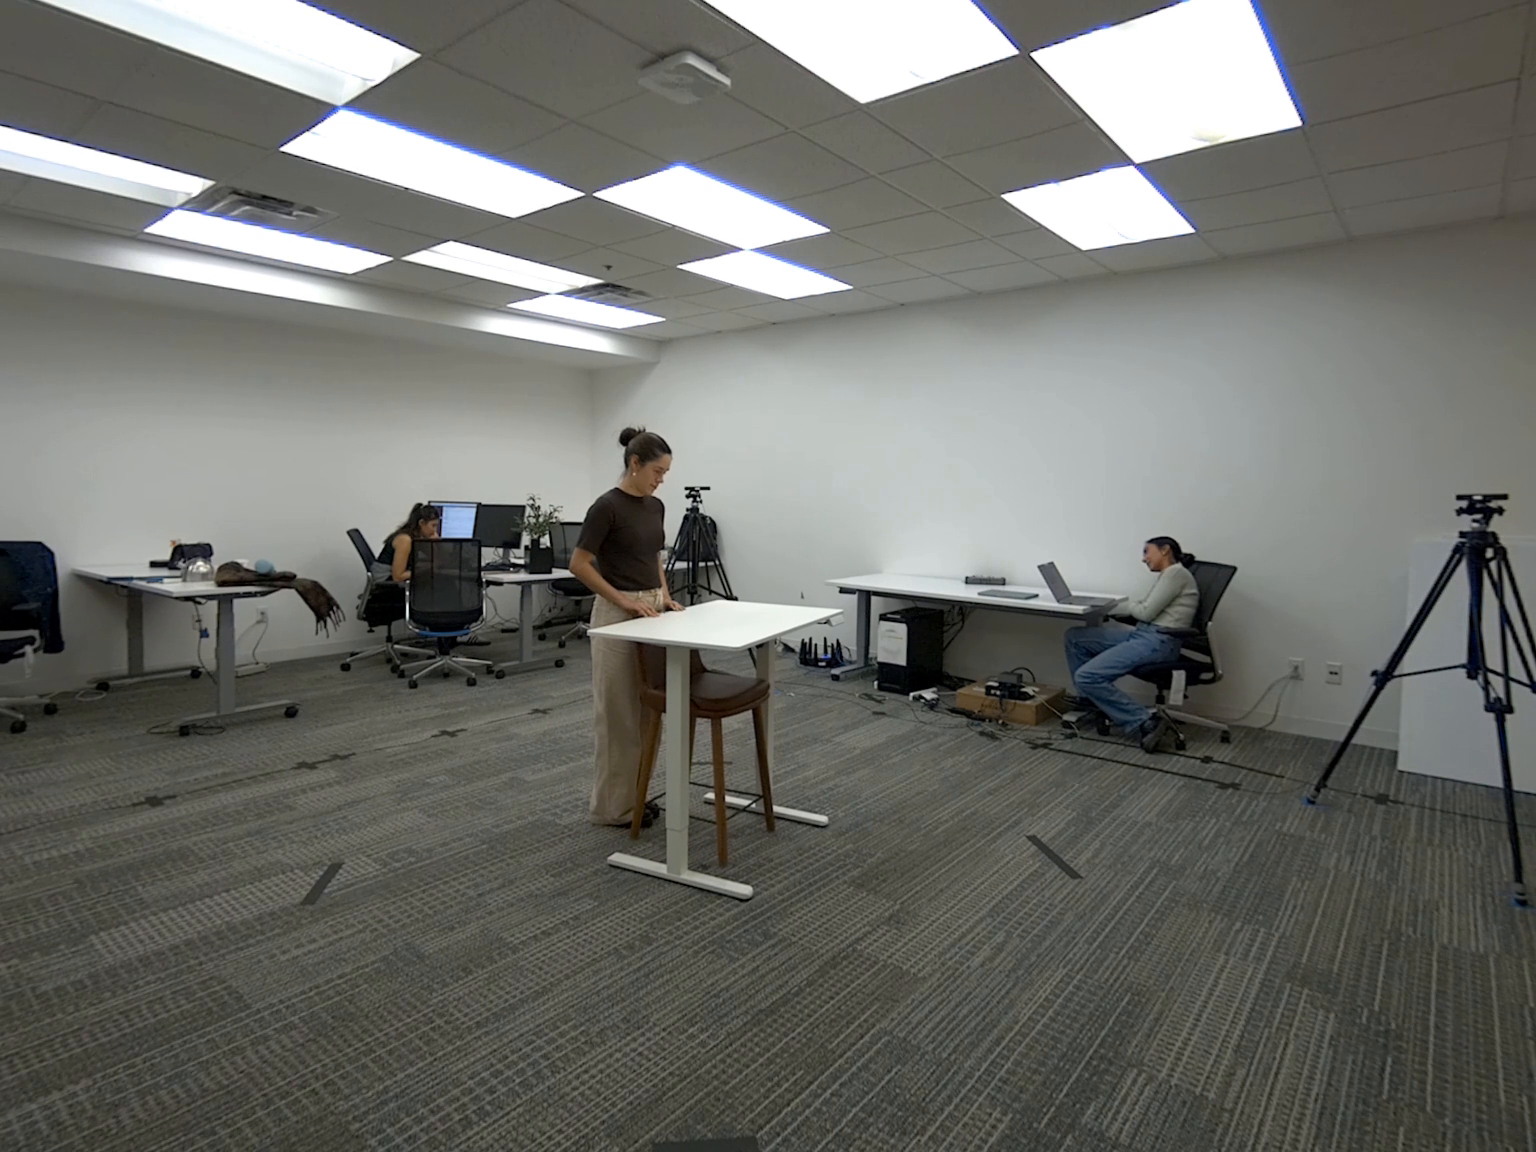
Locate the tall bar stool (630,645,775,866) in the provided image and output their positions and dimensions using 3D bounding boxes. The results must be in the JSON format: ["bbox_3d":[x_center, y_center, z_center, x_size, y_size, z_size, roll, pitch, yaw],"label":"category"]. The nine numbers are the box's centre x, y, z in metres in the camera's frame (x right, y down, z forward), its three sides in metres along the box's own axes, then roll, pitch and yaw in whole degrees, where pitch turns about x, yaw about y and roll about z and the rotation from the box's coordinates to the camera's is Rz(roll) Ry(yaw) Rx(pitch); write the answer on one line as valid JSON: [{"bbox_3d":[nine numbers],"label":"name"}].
[{"bbox_3d":[-0.273,0.601,3.388,0.481,0.888,0.445,0,3,29],"label":"tall bar stool"}]
